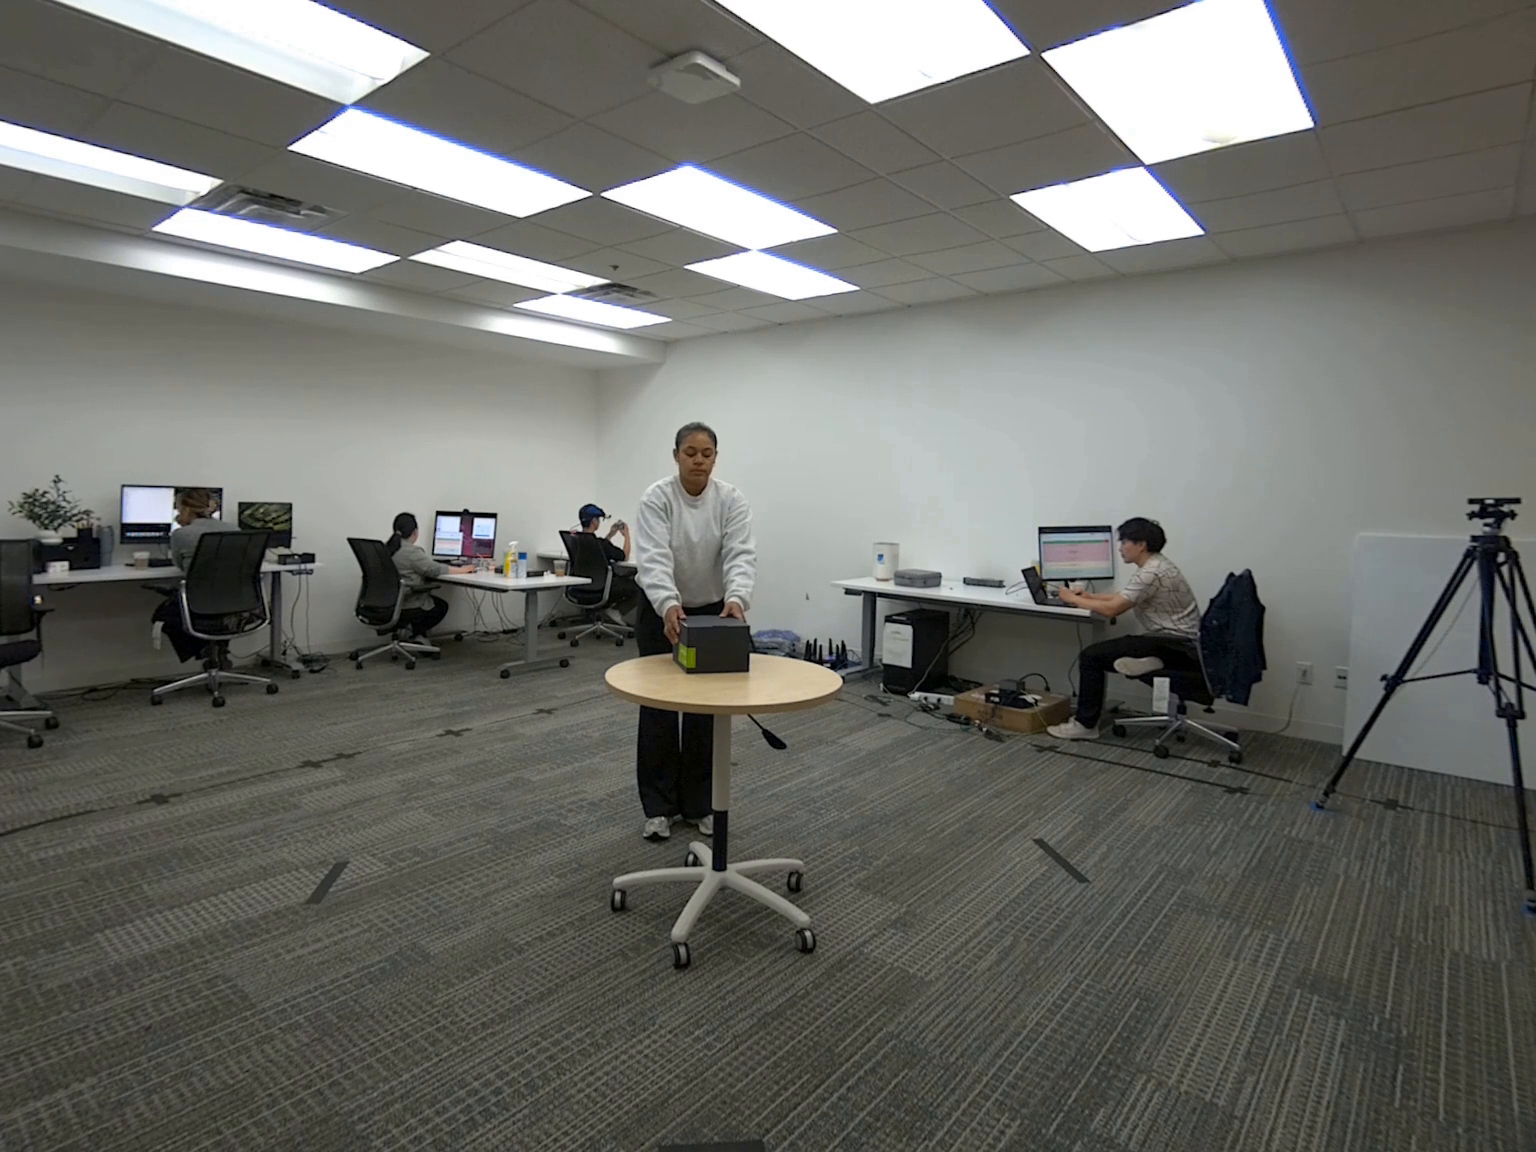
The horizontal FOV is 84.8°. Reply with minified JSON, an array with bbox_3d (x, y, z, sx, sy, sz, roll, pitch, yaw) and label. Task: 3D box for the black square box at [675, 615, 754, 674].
[{"bbox_3d":[-0.206,0.223,2.890,0.213,0.155,0.232,2,5,-15],"label":"black square box"}]
